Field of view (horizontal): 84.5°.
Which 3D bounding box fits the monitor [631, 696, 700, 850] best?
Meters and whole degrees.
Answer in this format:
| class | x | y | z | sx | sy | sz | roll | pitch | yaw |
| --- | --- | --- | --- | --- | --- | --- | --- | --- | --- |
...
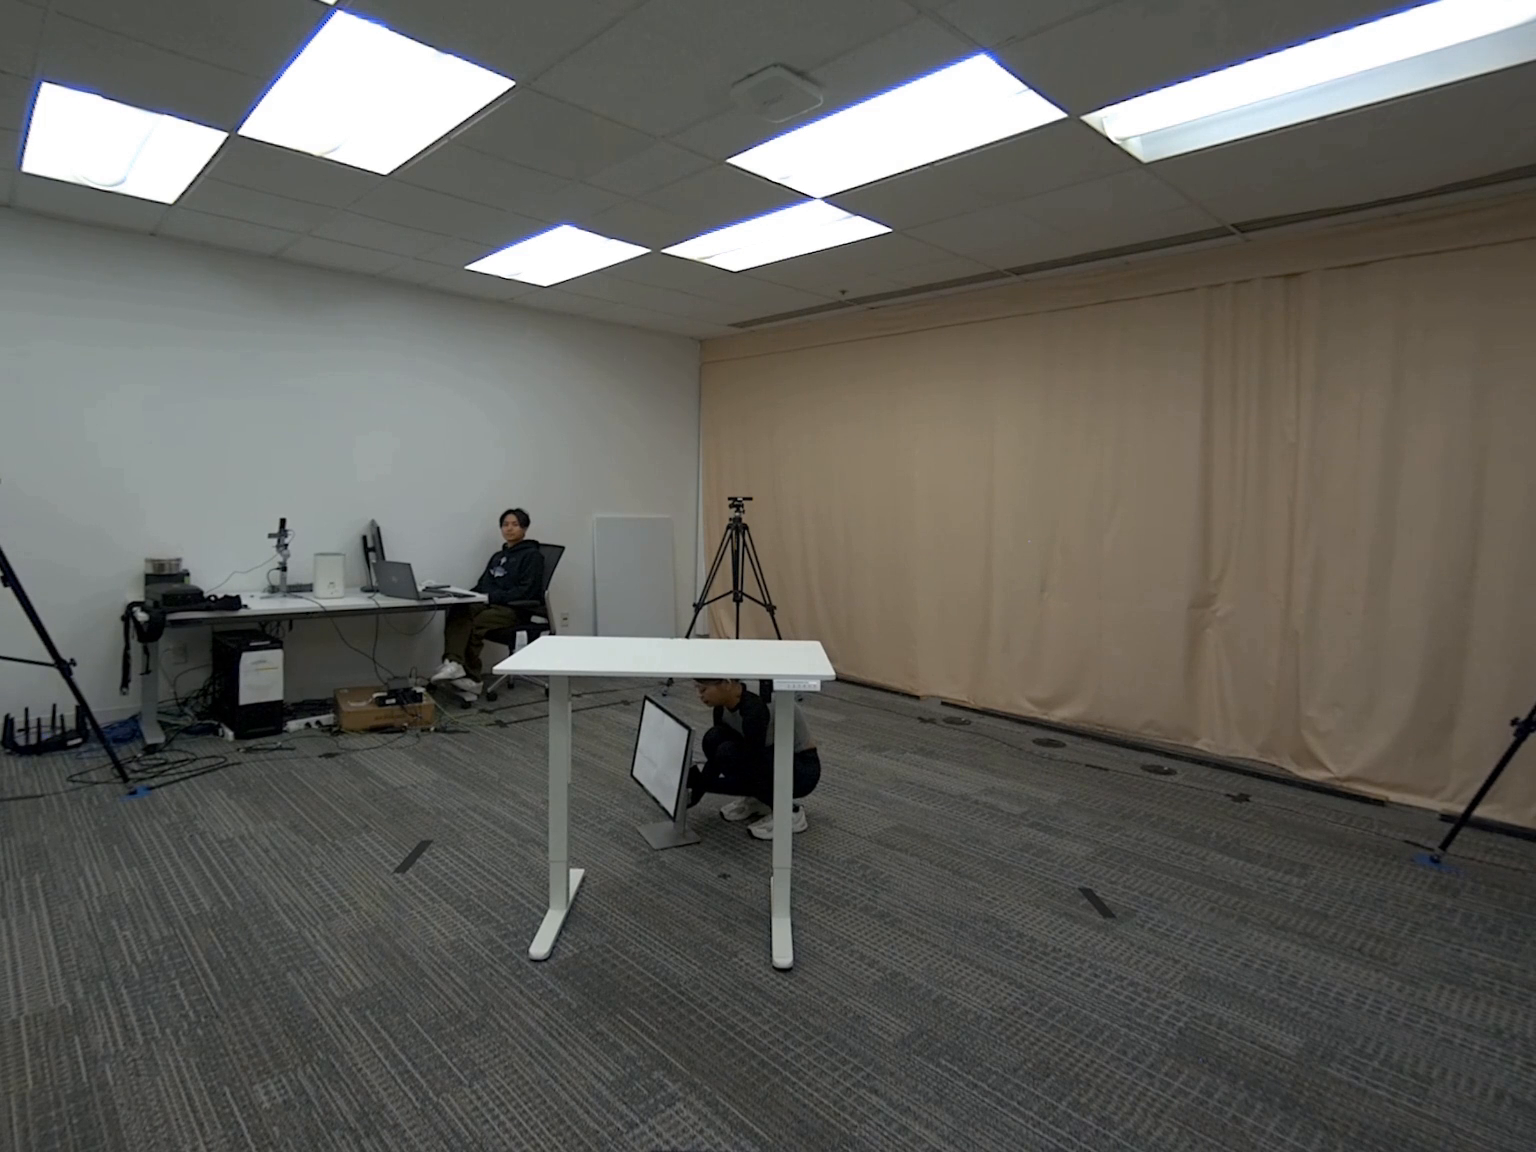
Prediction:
| class | x | y | z | sx | sy | sz | roll | pitch | yaw |
| --- | --- | --- | --- | --- | --- | --- | --- | --- | --- |
| monitor | -0.415 | 0.804 | 3.453 | 0.184 | 0.521 | 0.550 | -3 | 4 | -28 |
